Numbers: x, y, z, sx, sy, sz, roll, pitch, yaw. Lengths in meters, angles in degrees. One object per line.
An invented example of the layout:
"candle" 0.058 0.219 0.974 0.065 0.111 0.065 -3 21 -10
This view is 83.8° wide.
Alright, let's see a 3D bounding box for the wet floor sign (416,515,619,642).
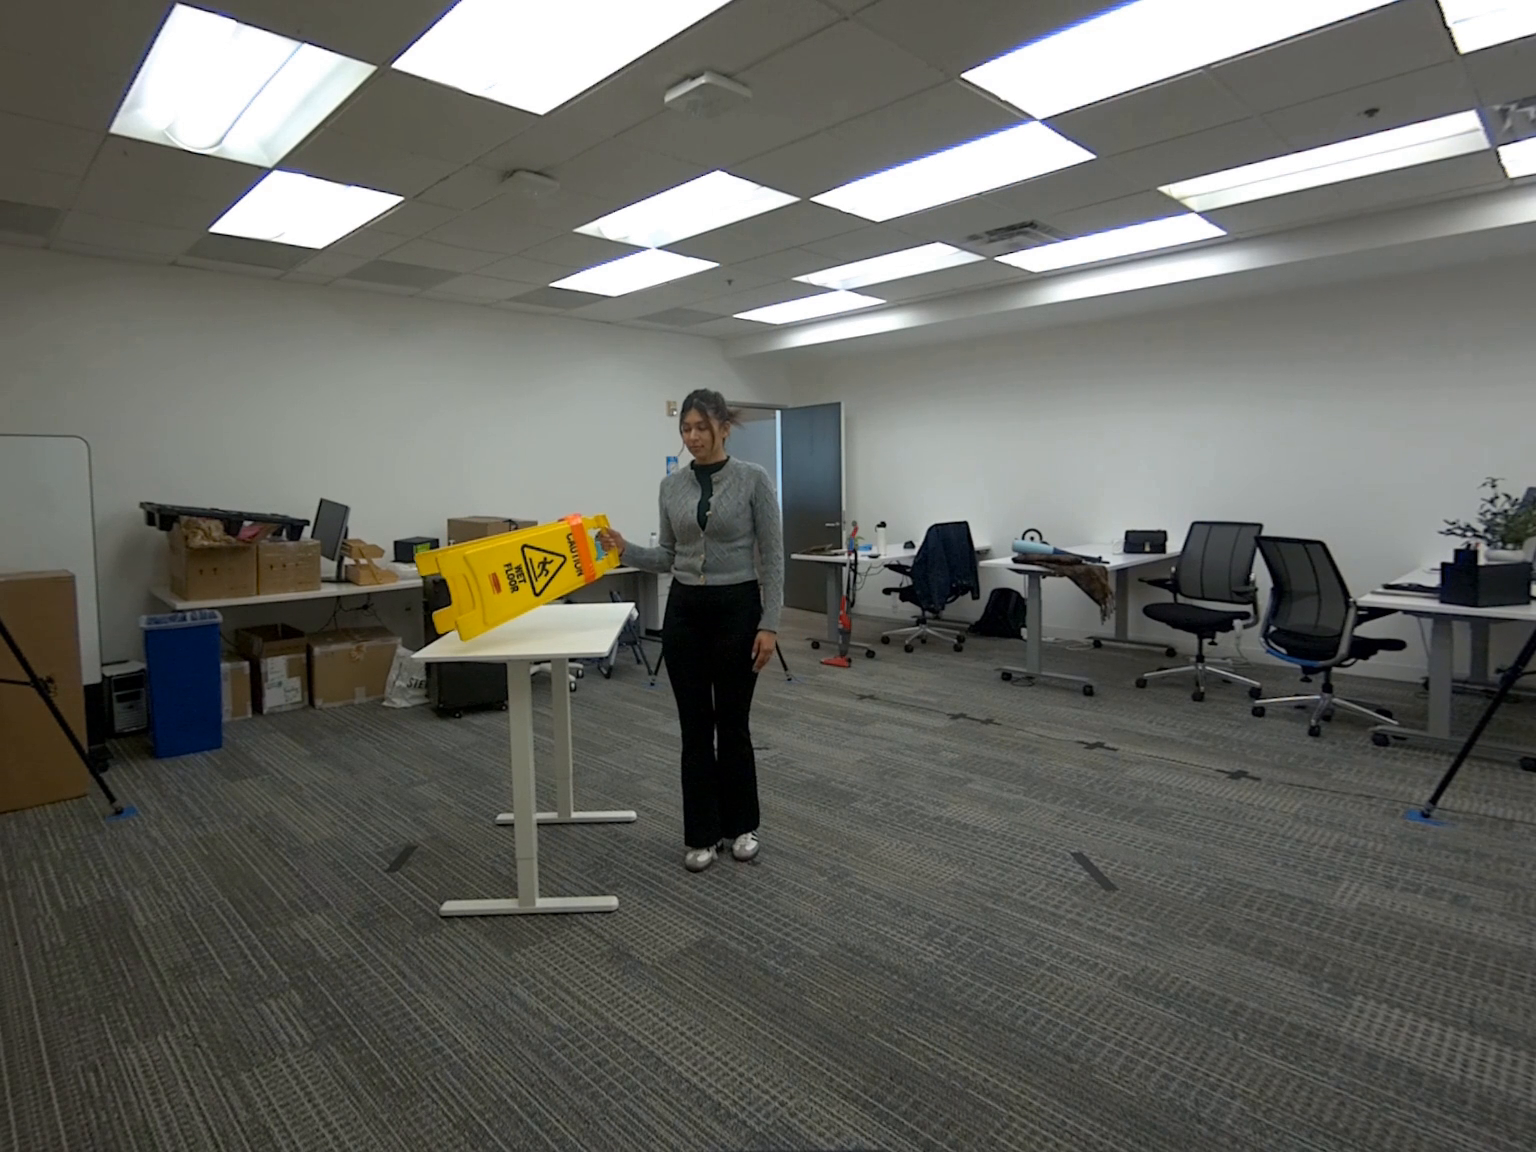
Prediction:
"wet floor sign" -0.798 -0.029 2.878 0.636 0.279 0.297 -22 12 -31
